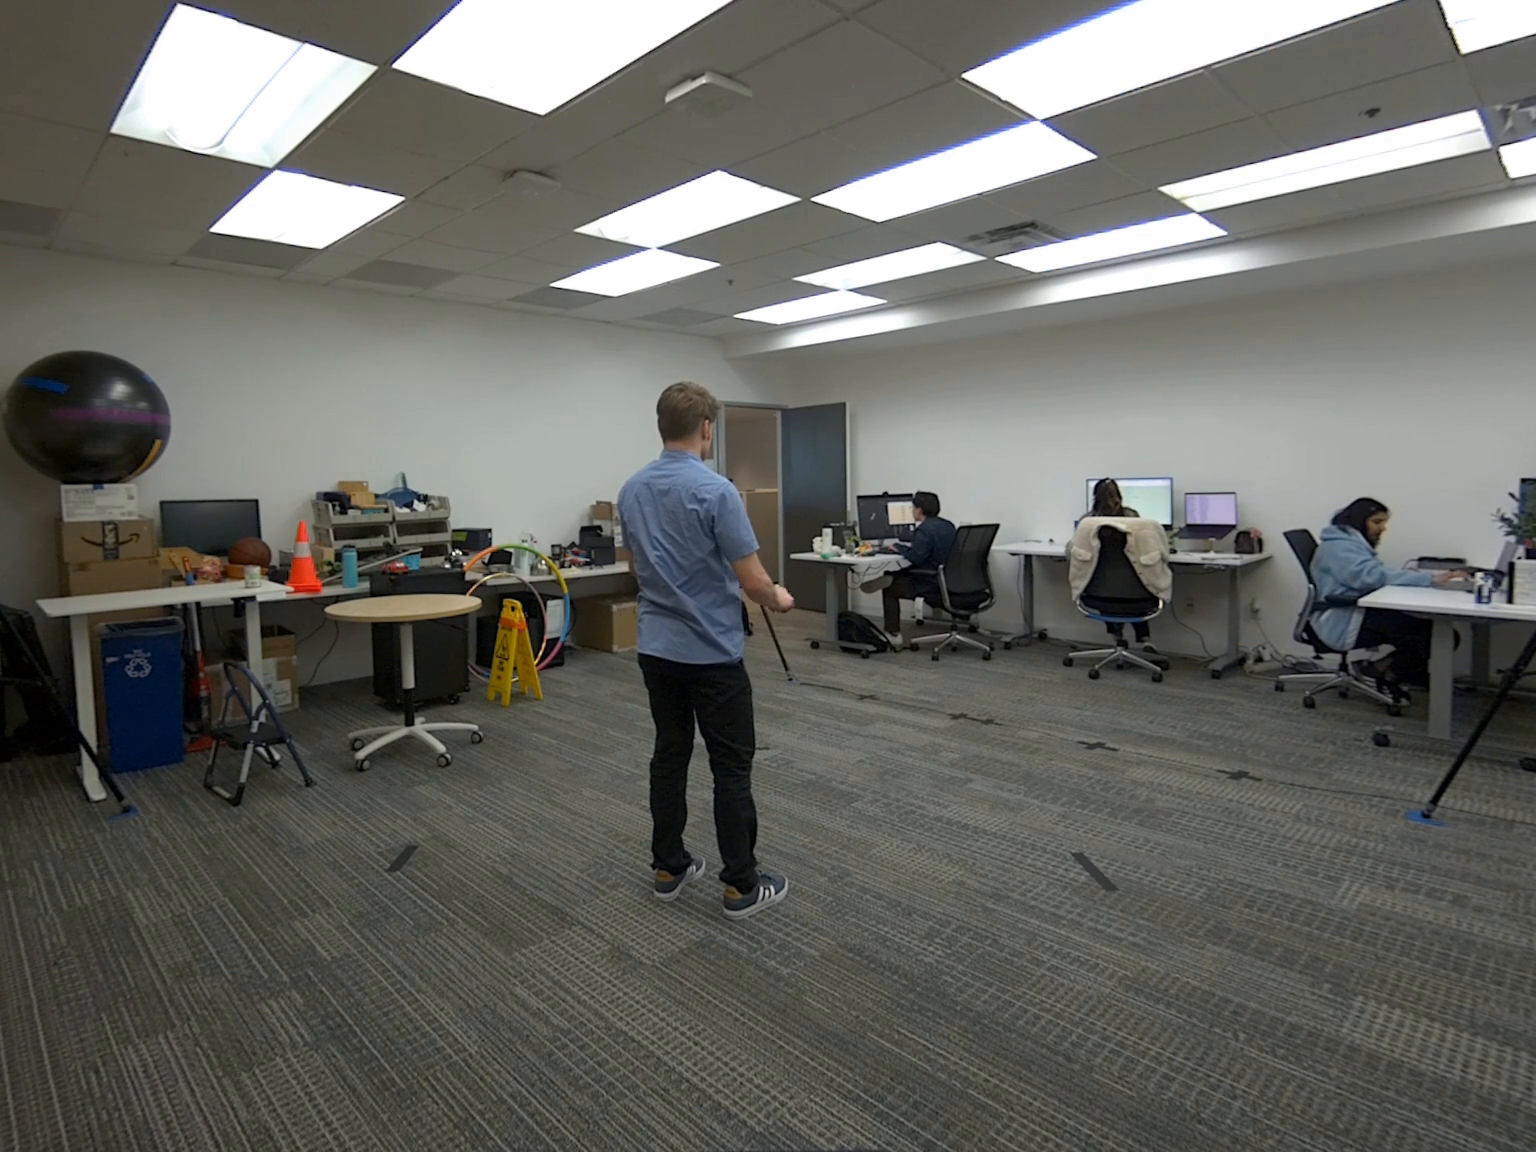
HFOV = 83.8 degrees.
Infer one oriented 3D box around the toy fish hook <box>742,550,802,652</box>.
[{"bbox_3d":[-0.052,0.049,3.164,0.047,0.223,0.525,17,16,-30],"label":"toy fish hook"}]
